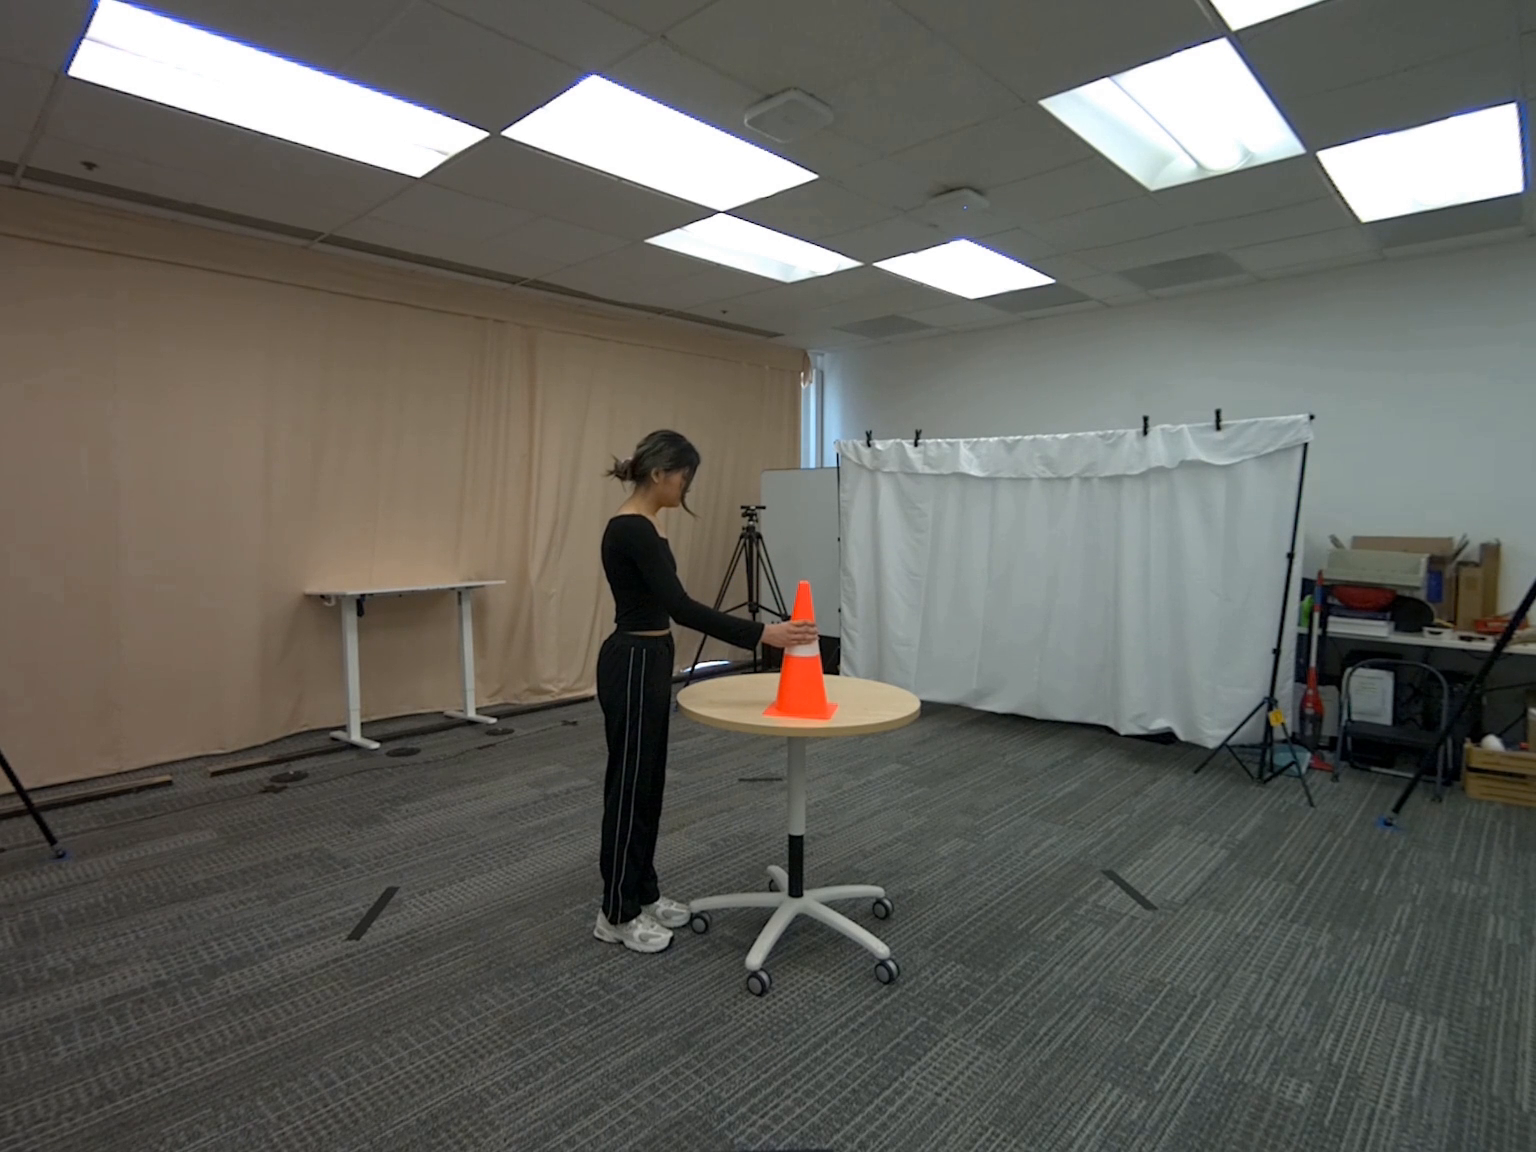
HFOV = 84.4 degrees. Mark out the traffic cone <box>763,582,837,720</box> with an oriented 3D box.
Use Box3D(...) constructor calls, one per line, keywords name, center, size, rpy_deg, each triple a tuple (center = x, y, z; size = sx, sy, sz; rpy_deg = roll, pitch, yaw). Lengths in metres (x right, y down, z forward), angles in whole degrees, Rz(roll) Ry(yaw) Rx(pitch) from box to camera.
Box3D(name="traffic cone", center=(0.098, 0.209, 2.488), size=(0.205, 0.382, 0.204), rpy_deg=(-2, 4, 8))
